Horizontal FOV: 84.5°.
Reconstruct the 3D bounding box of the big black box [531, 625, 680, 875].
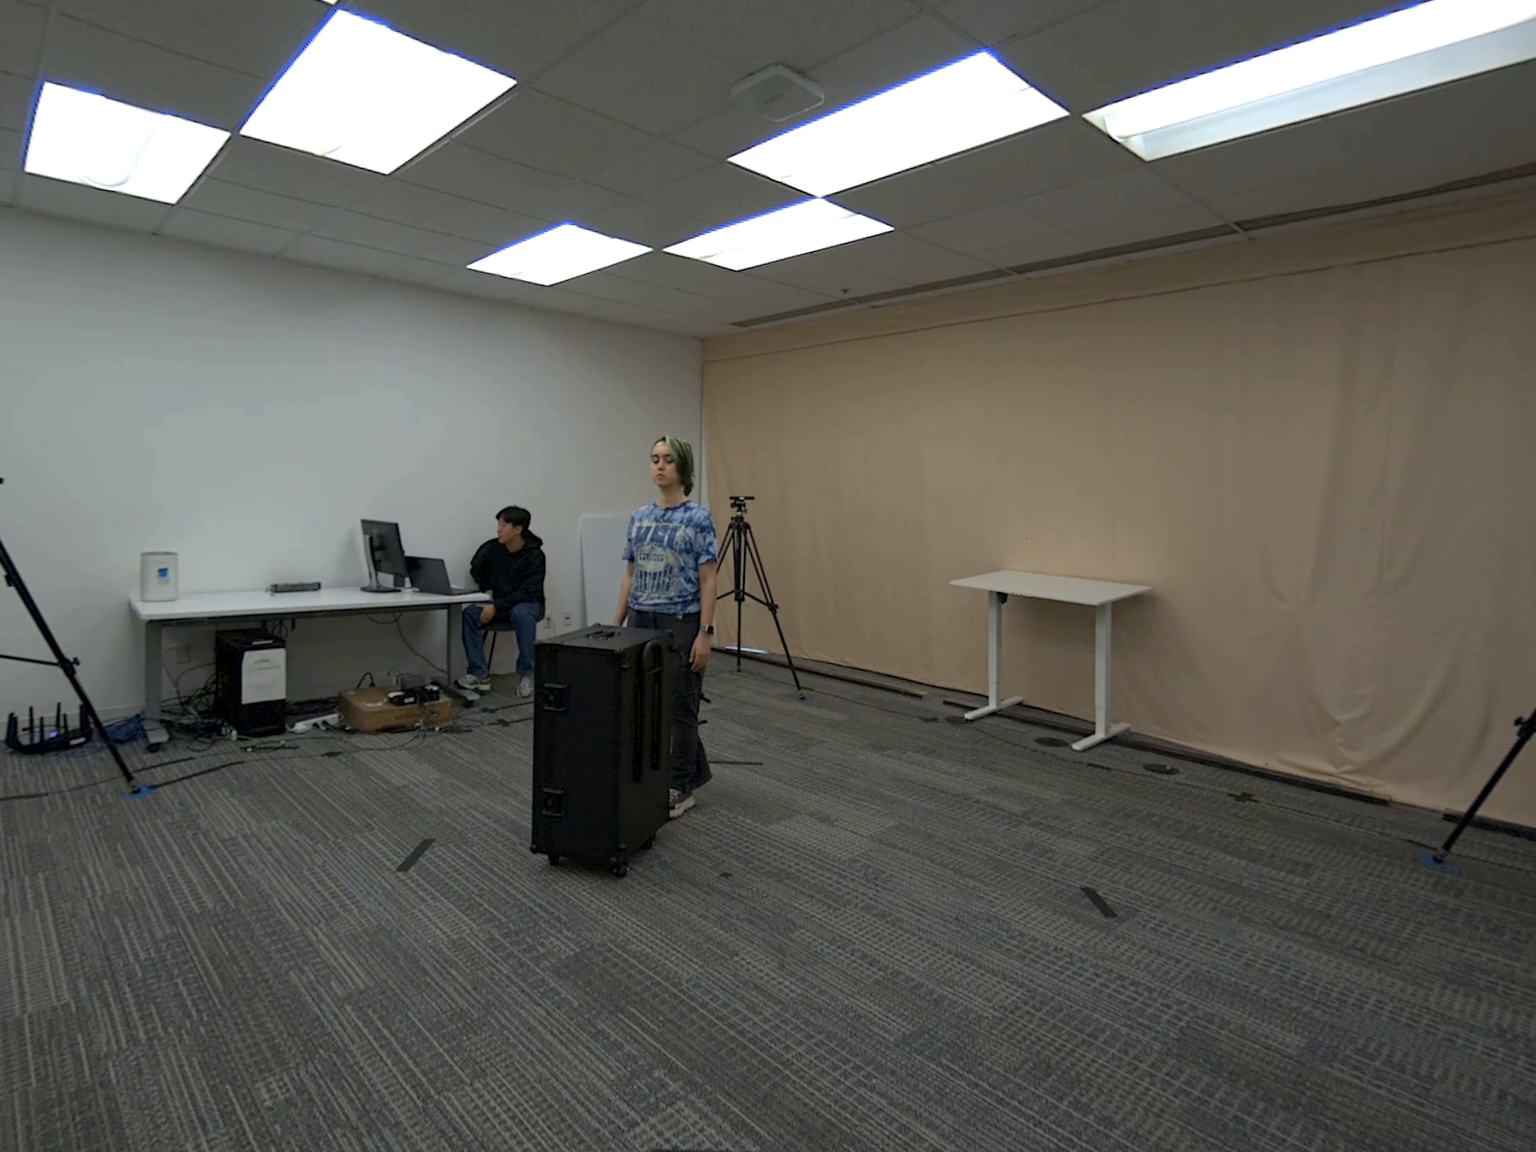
[{"bbox_3d":[-0.629,0.659,3.247,0.402,0.859,0.515,4,3,18],"label":"big black box"}]
